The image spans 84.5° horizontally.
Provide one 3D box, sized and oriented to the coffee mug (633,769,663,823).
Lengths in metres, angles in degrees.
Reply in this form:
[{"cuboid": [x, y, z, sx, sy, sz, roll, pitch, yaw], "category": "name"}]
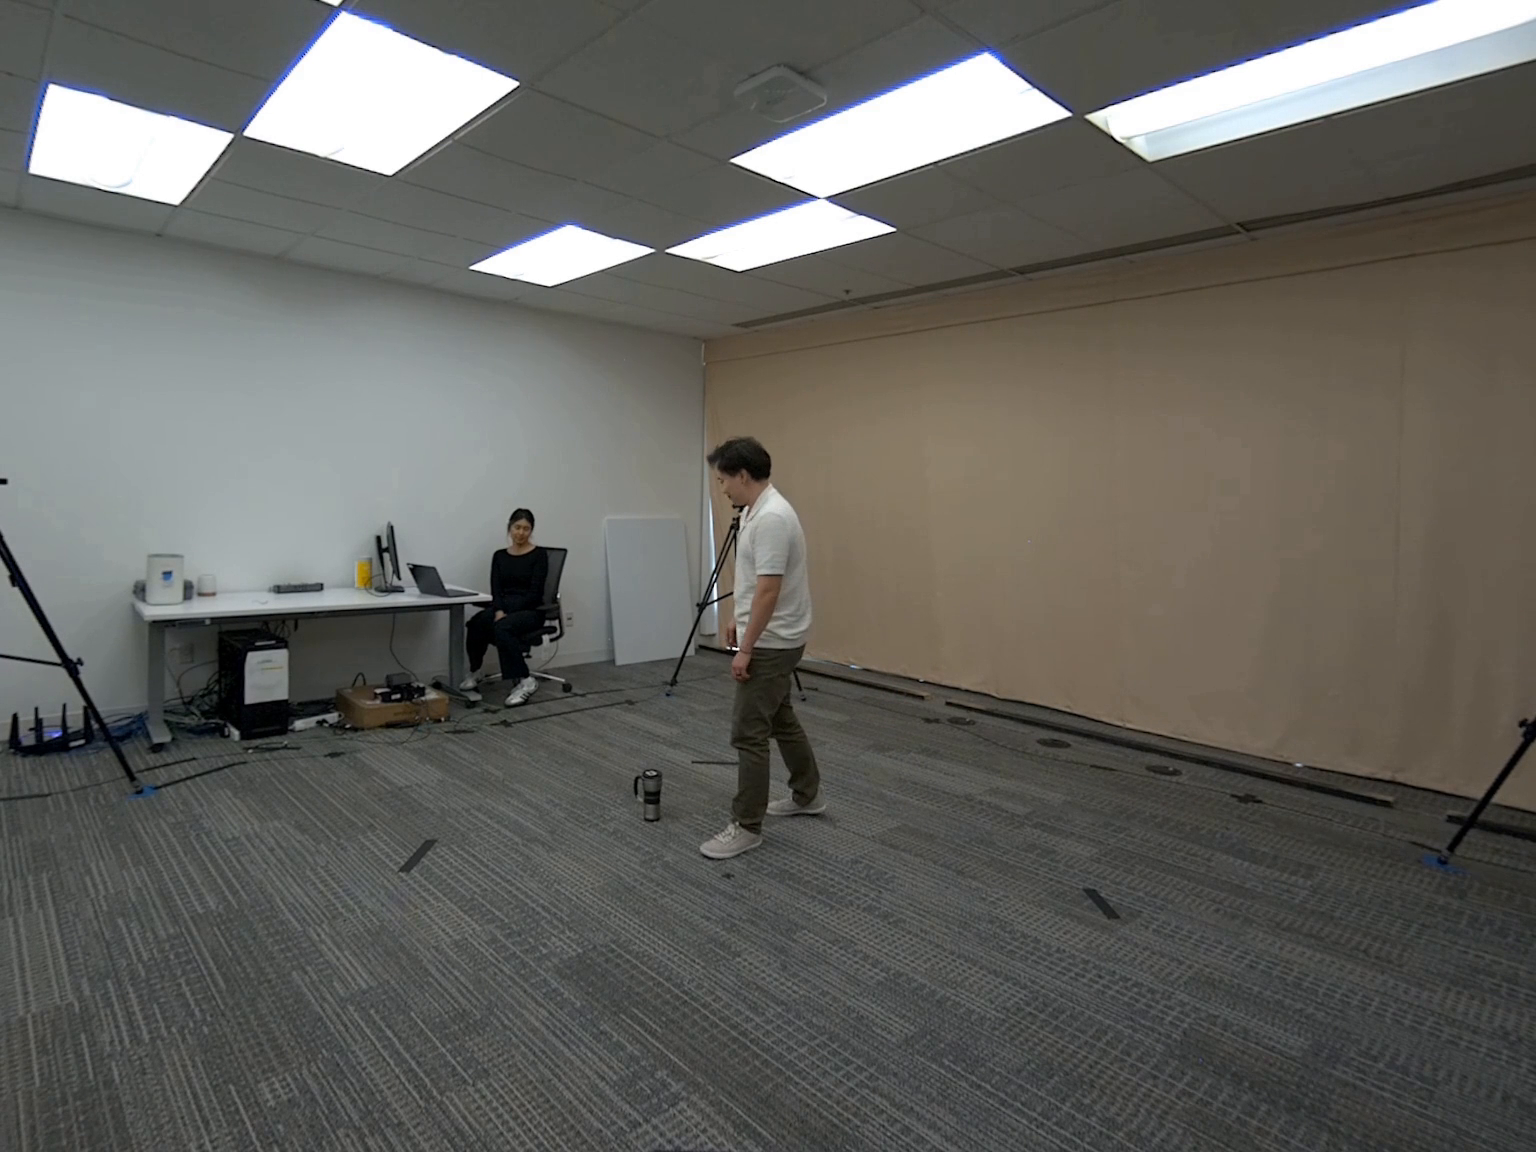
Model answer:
[{"cuboid": [-0.529, 0.950, 3.651, 0.125, 0.202, 0.086, 6, 8, 31], "category": "coffee mug"}]
